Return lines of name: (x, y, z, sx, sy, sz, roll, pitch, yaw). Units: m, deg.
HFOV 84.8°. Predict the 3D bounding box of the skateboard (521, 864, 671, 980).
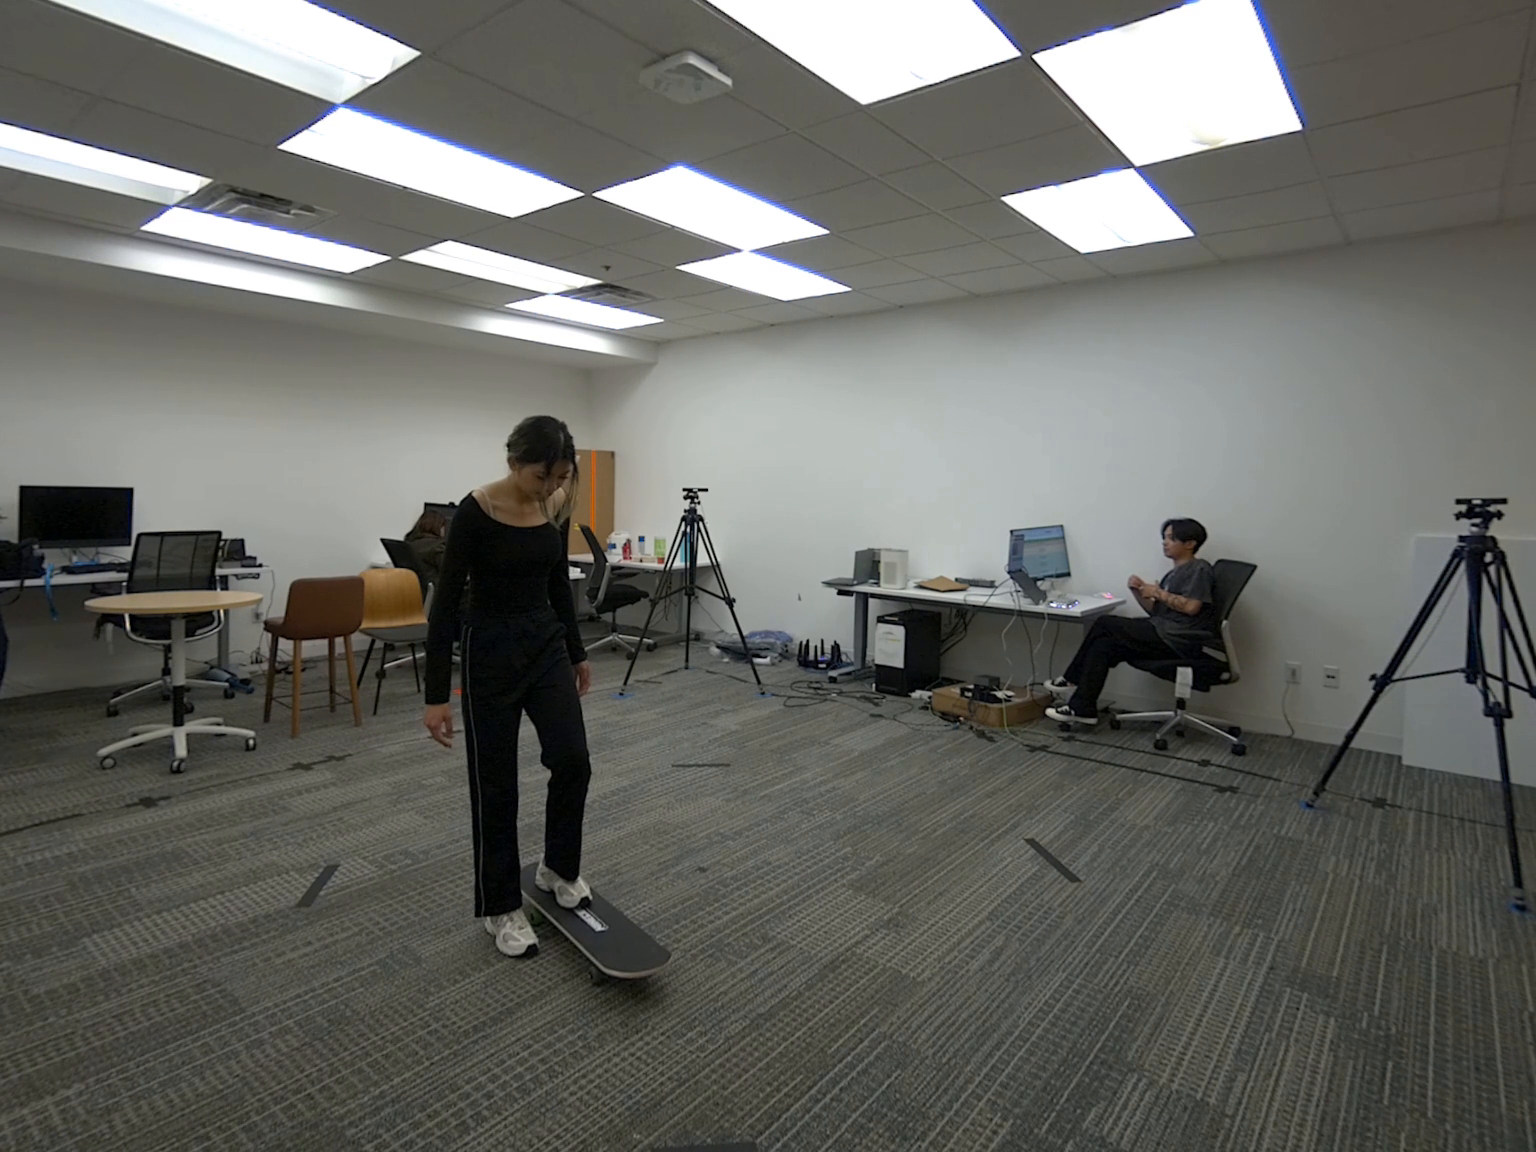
skateboard: (-0.556, 1.060, 2.577, 0.188, 0.110, 0.812, -5, 7, -38)
